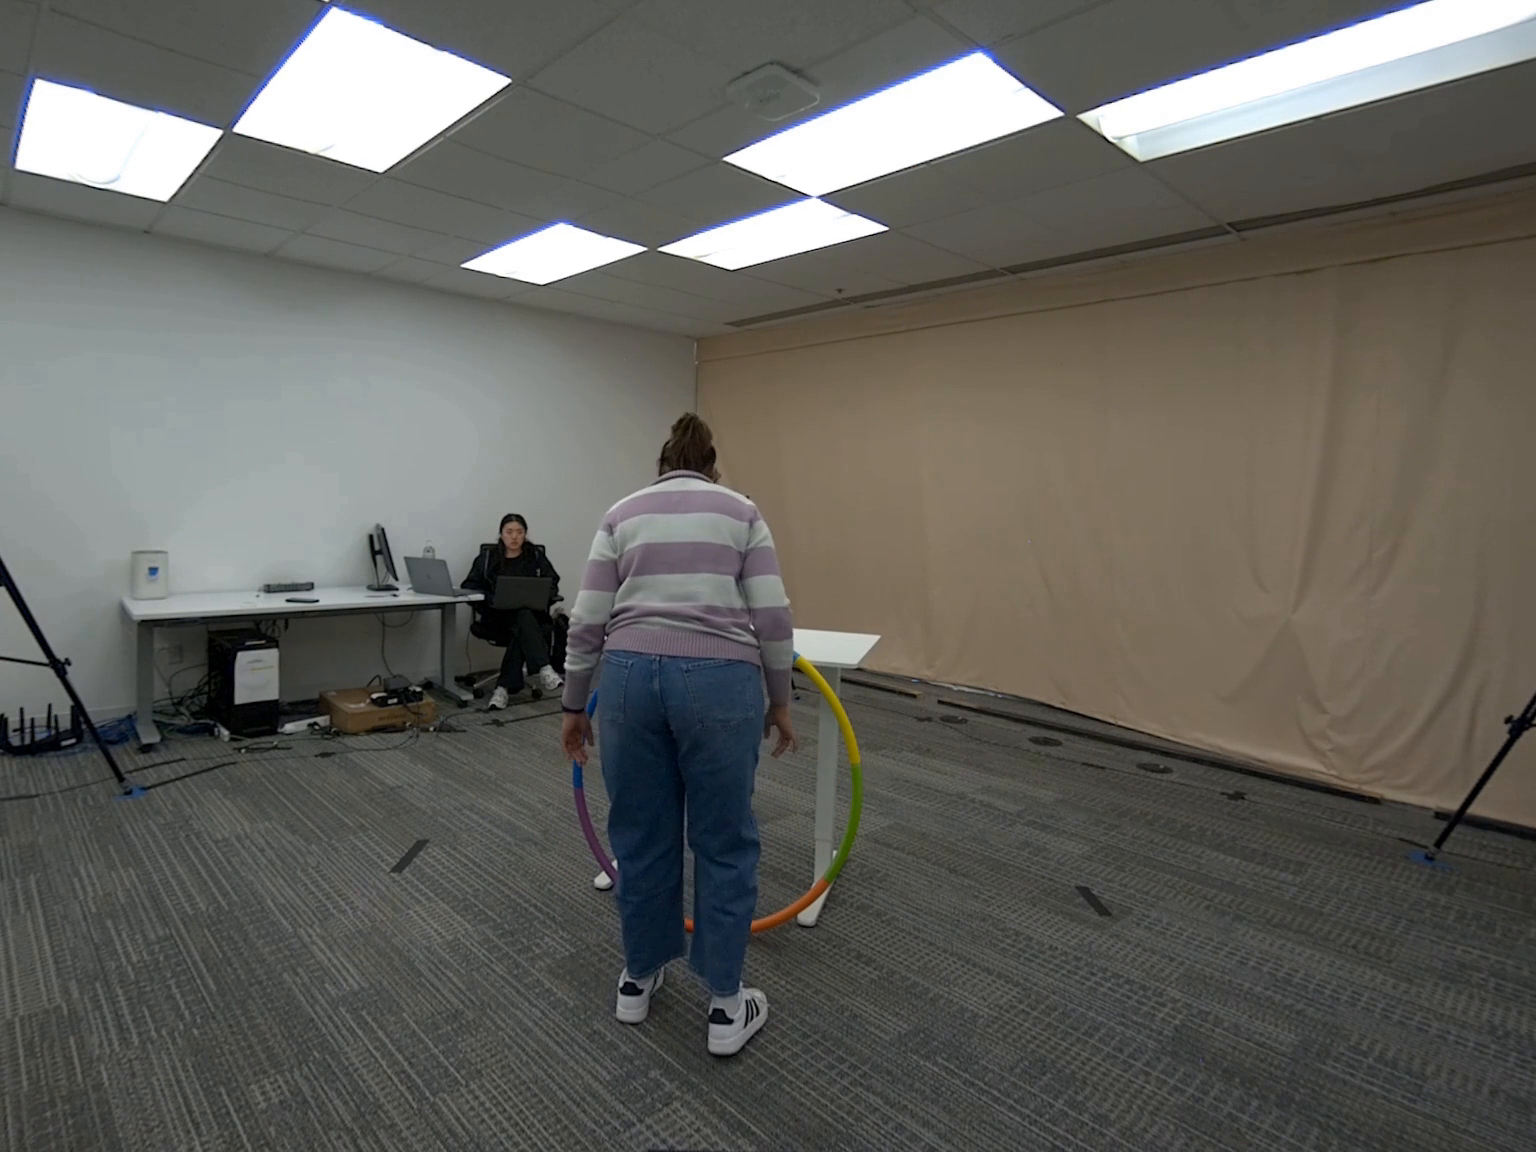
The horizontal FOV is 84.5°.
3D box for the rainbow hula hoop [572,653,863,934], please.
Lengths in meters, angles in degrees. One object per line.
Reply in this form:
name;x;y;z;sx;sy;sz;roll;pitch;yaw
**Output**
rainbow hula hoop;-0.200;0.658;2.718;0.992;0.982;0.035;2;-5;17
